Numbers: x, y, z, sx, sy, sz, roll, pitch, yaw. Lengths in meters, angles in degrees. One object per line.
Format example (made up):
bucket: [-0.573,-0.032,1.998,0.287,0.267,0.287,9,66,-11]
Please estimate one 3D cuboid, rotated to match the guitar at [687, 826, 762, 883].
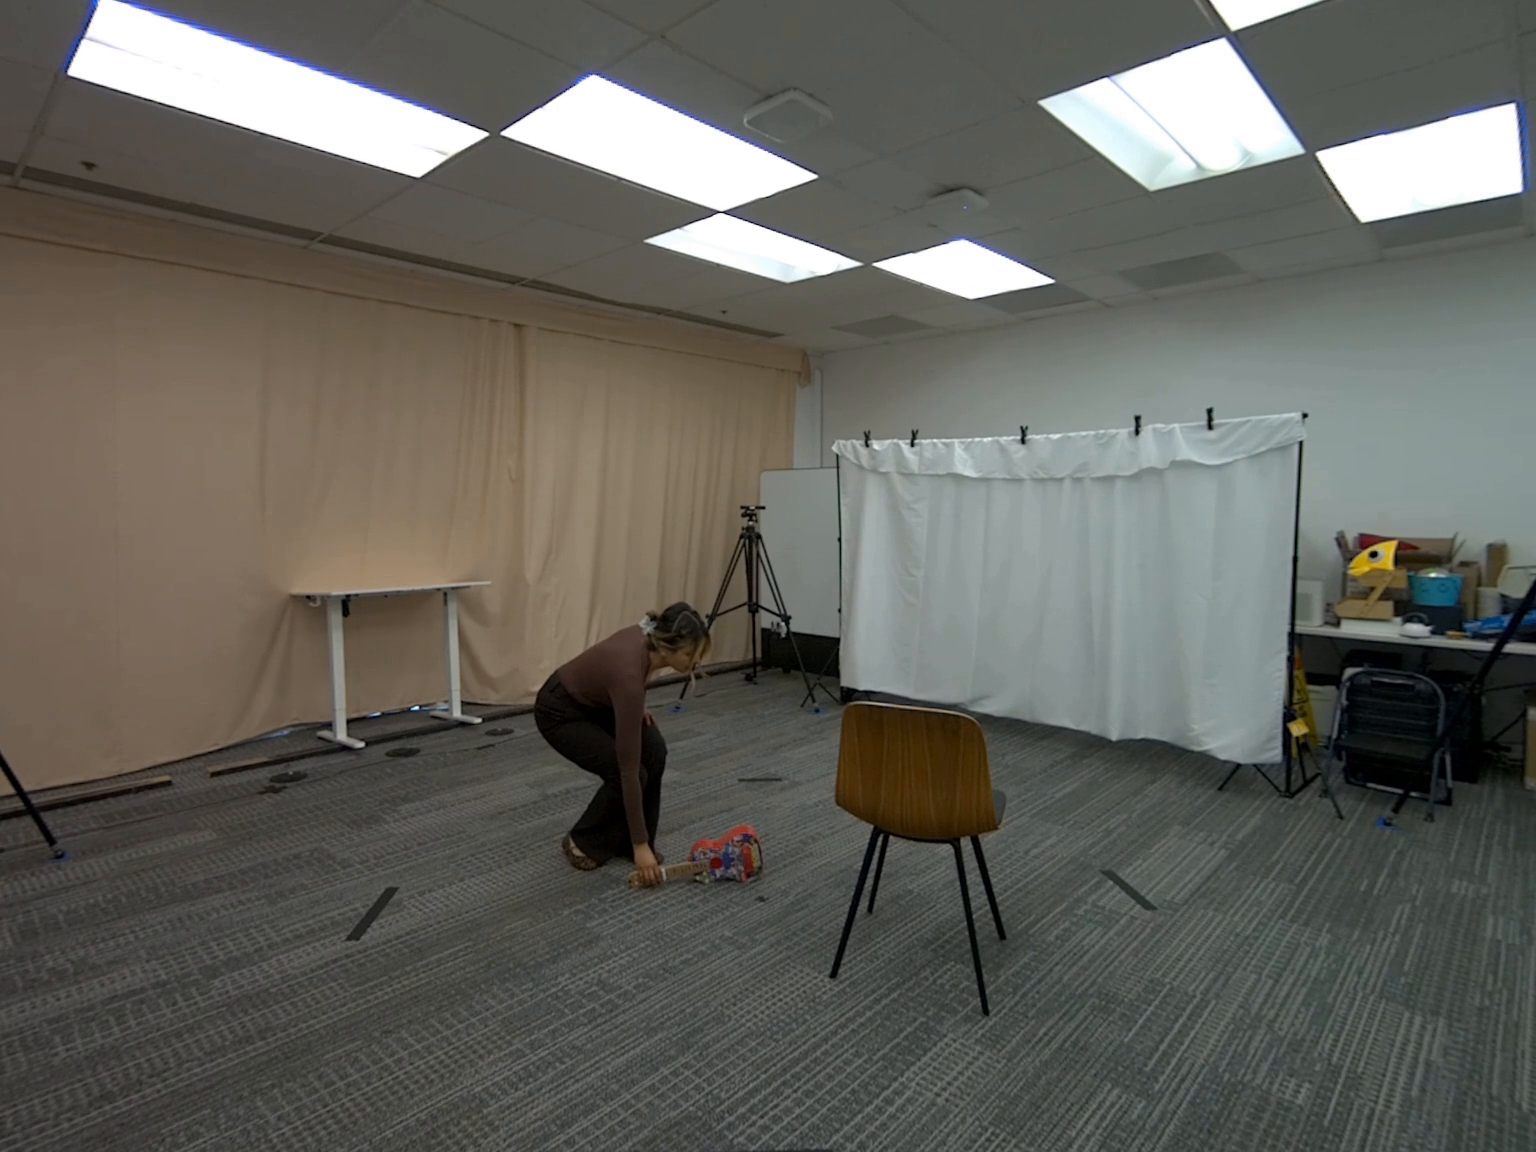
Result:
guitar: [-0.269,1.043,3.112,0.495,0.192,0.071,-1,8,-5]
